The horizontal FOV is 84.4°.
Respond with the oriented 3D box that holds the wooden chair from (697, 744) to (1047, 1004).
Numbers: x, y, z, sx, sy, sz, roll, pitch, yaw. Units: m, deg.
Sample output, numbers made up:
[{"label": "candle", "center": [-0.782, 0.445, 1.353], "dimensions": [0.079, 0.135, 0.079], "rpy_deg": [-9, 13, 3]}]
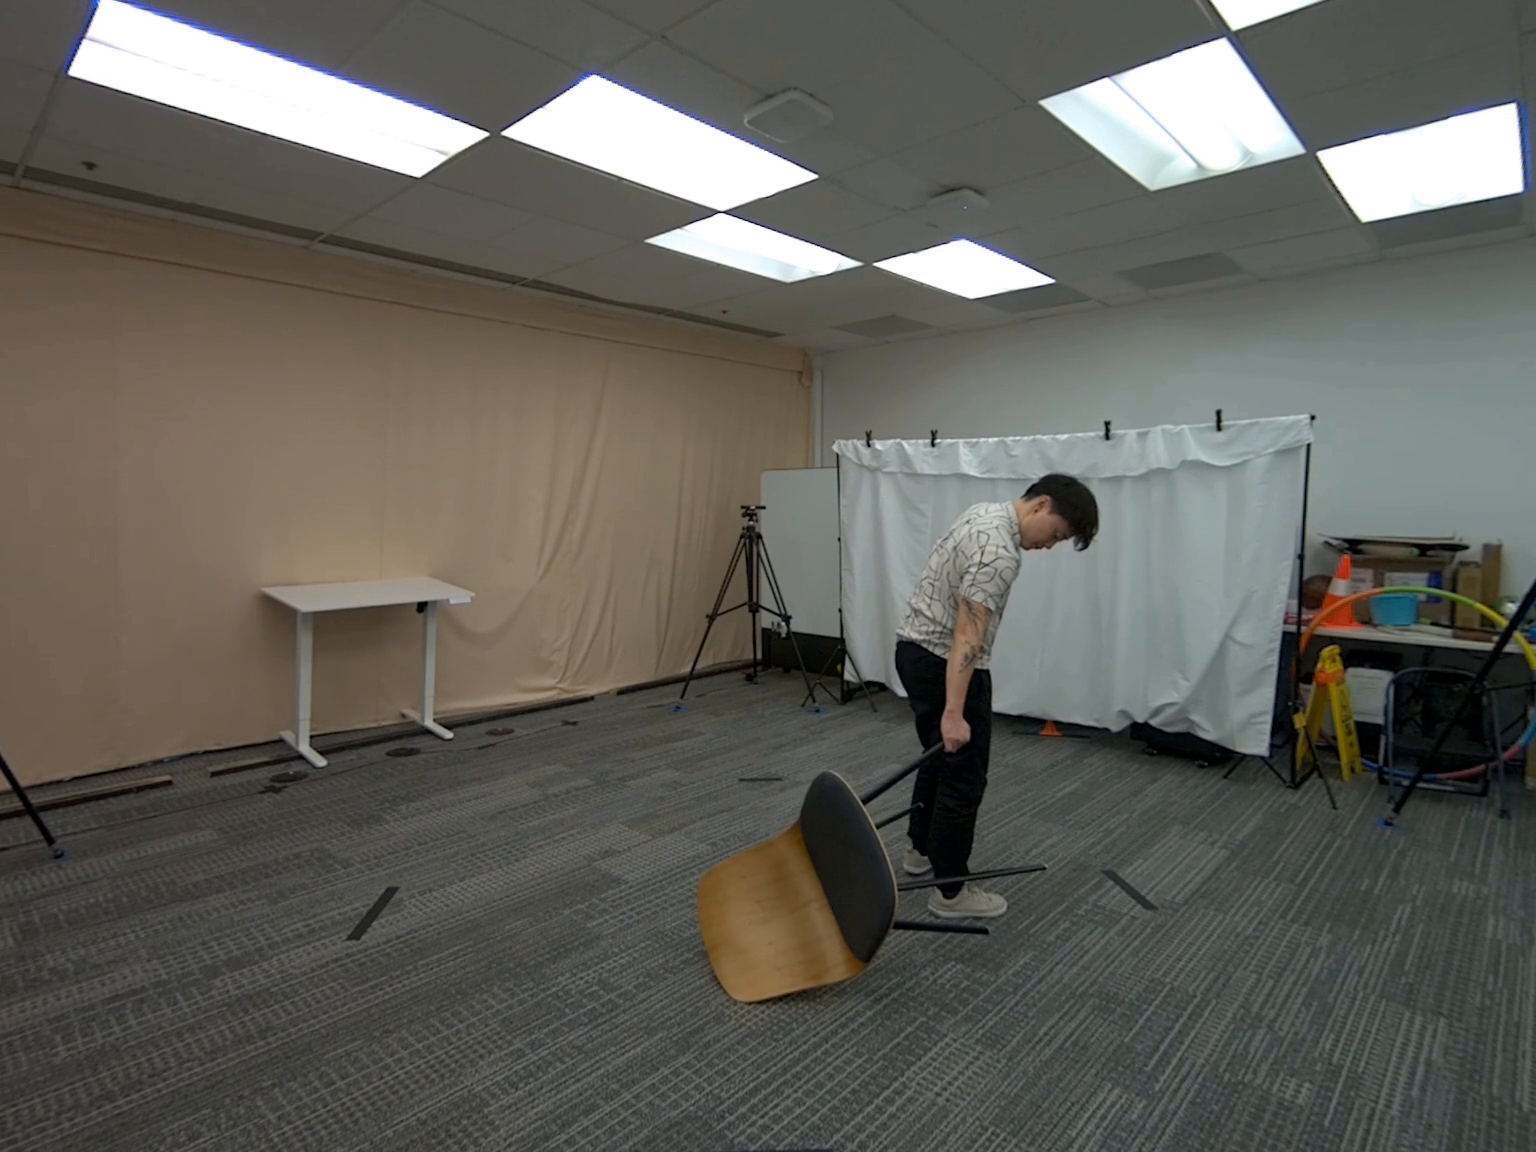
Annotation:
[{"label": "wooden chair", "center": [0.245, 0.855, 2.437], "dimensions": [0.865, 0.515, 0.492], "rpy_deg": [-12, 49, -16]}]
